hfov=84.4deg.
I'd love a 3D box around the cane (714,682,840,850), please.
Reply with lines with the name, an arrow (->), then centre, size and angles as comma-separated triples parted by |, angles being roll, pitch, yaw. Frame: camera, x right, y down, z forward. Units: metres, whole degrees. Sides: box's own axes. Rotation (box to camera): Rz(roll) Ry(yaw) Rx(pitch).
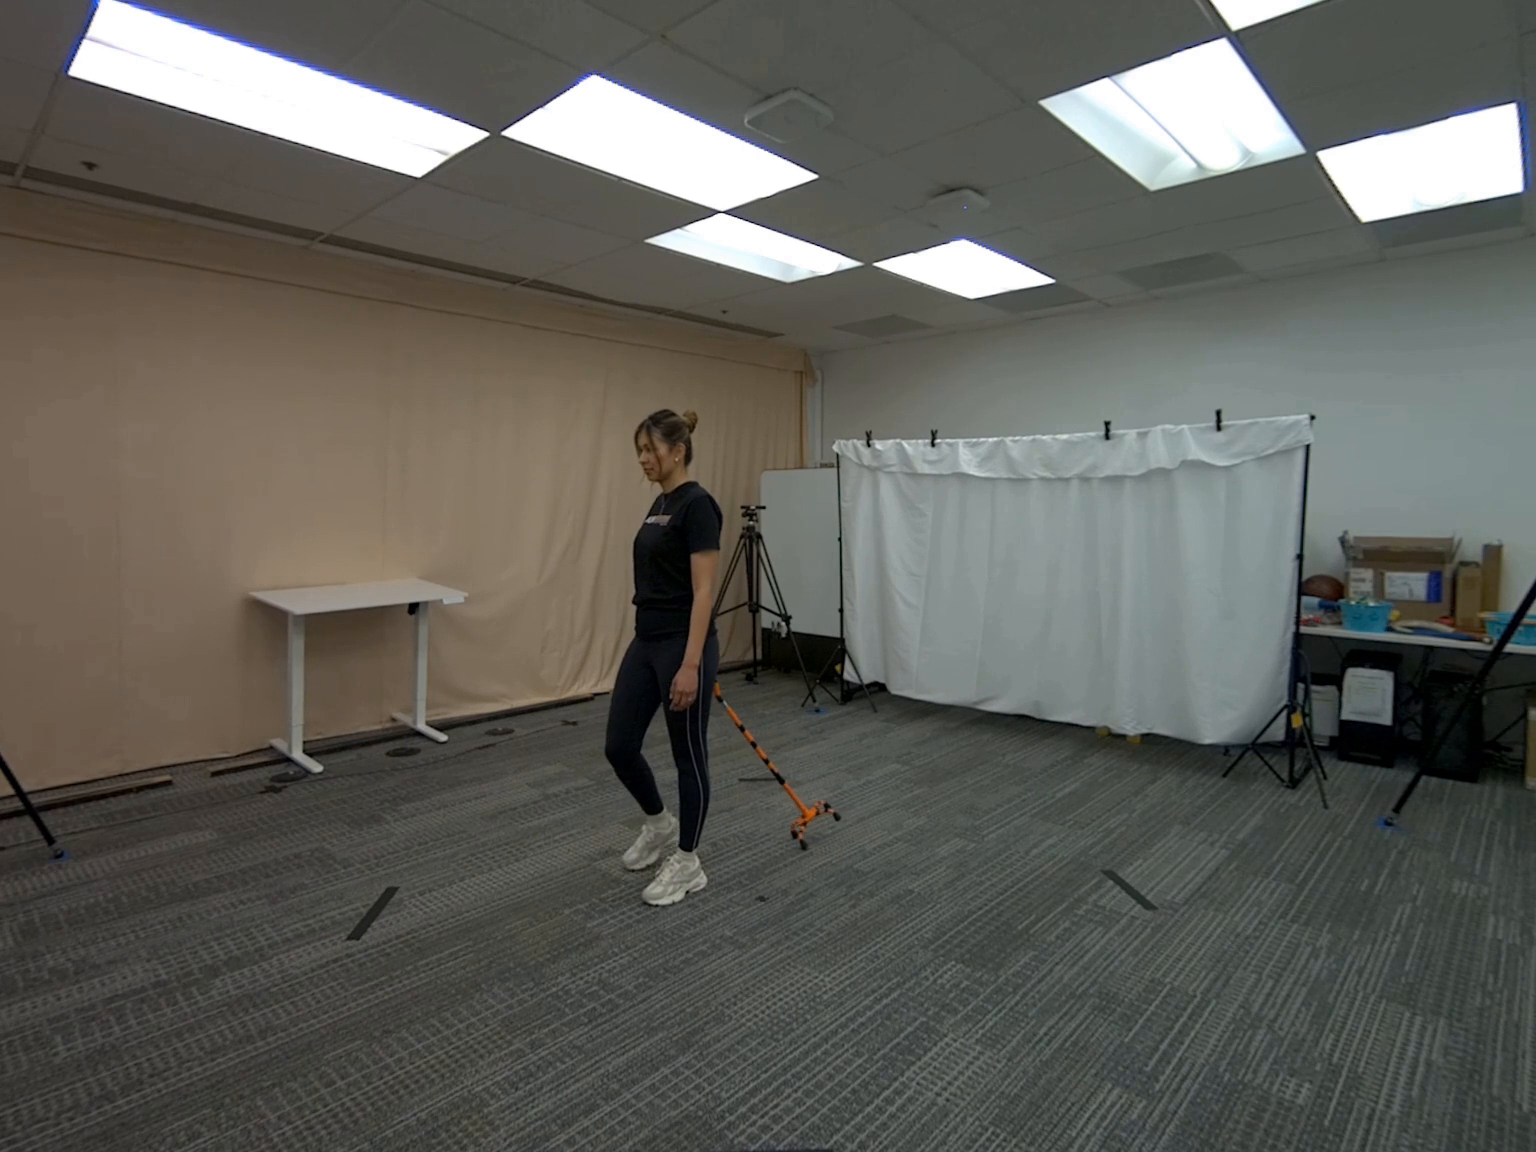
cane -> -0.052, 0.682, 3.416 | 0.206, 0.899, 0.153 | -37, 8, -8
